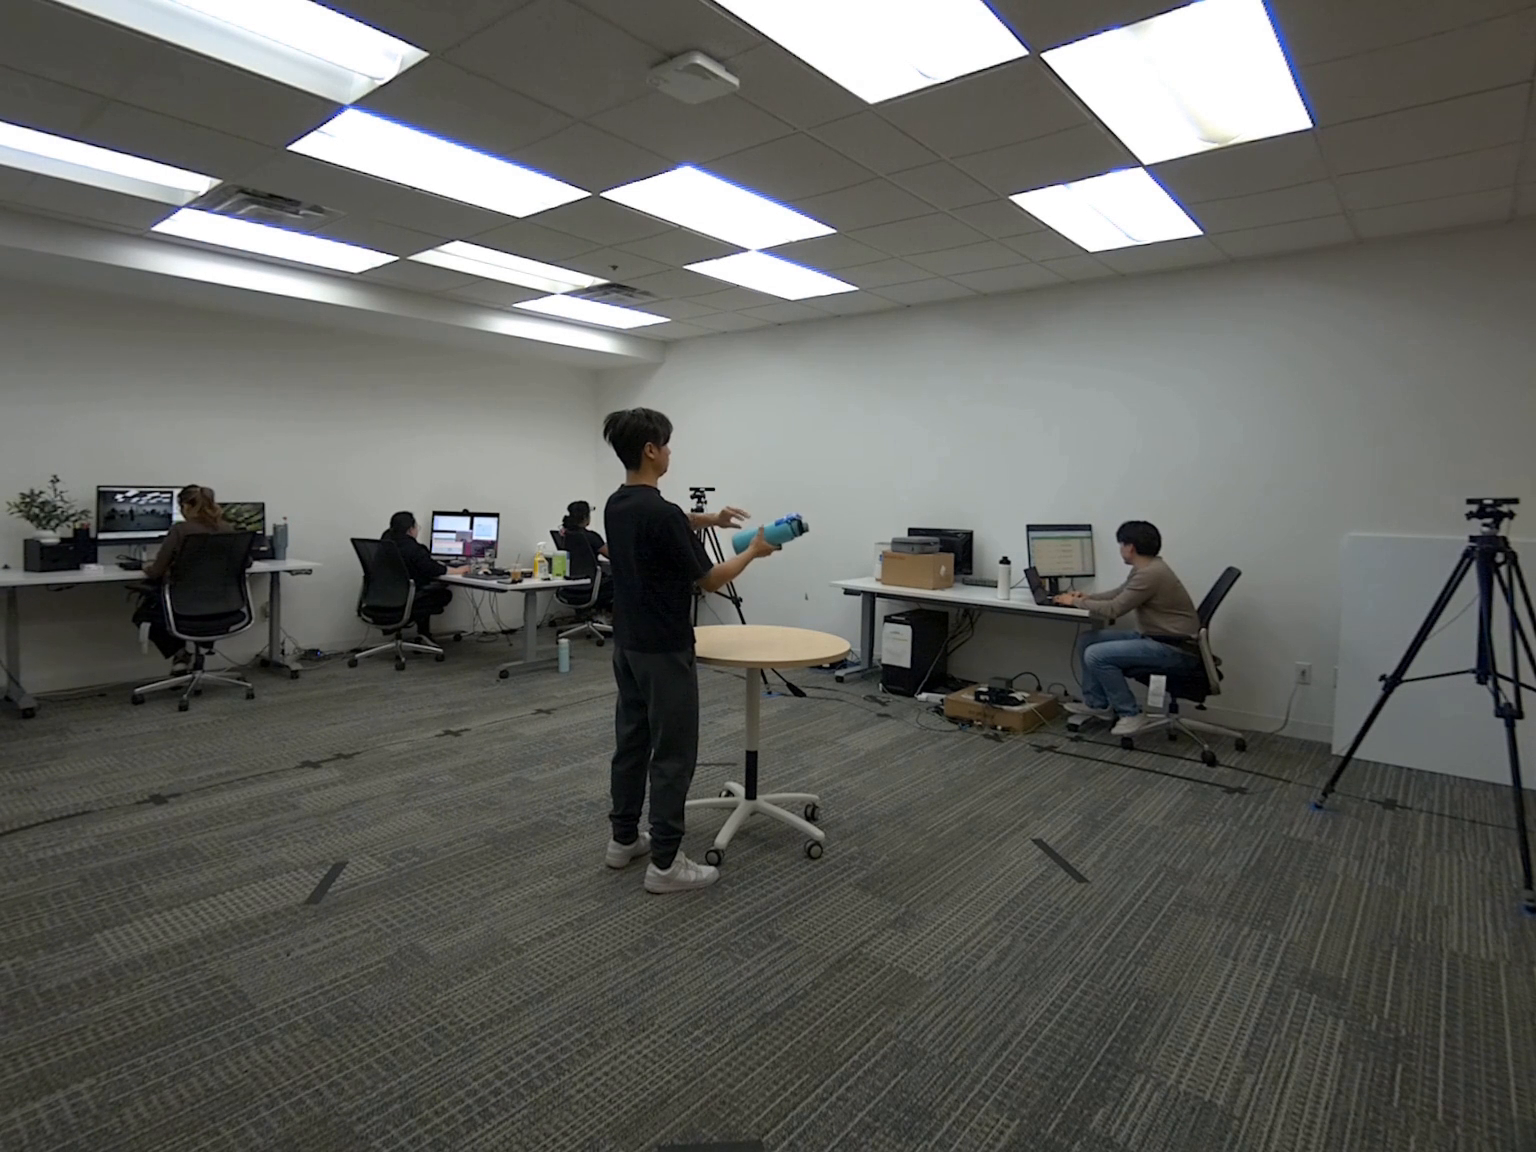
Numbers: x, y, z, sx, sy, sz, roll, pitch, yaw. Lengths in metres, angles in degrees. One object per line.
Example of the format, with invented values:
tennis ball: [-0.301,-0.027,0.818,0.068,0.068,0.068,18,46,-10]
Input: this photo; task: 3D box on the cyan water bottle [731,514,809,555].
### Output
cyan water bottle: [0.001,-0.158,3.156,0.286,0.092,0.091,-19,0,13]
